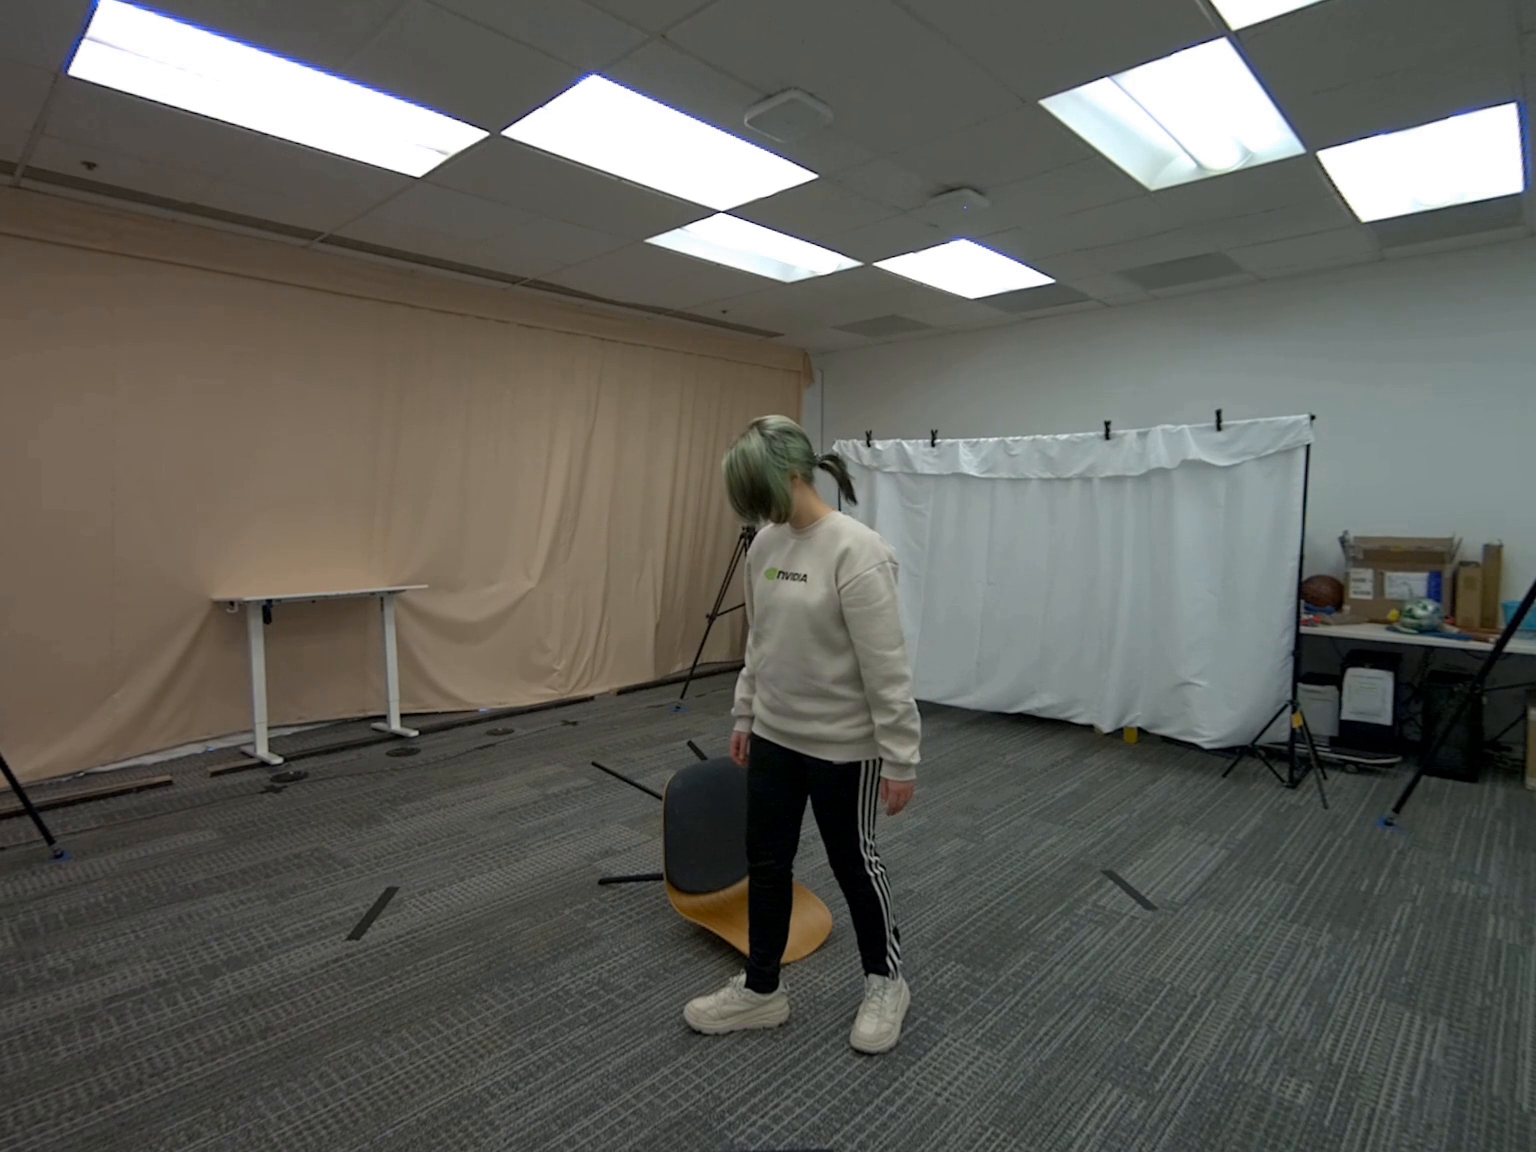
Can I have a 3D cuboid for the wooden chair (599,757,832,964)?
[{"bbox_3d":[-0.191,0.892,2.905,0.464,0.521,0.907,-4,7,-39],"label":"wooden chair"}]
